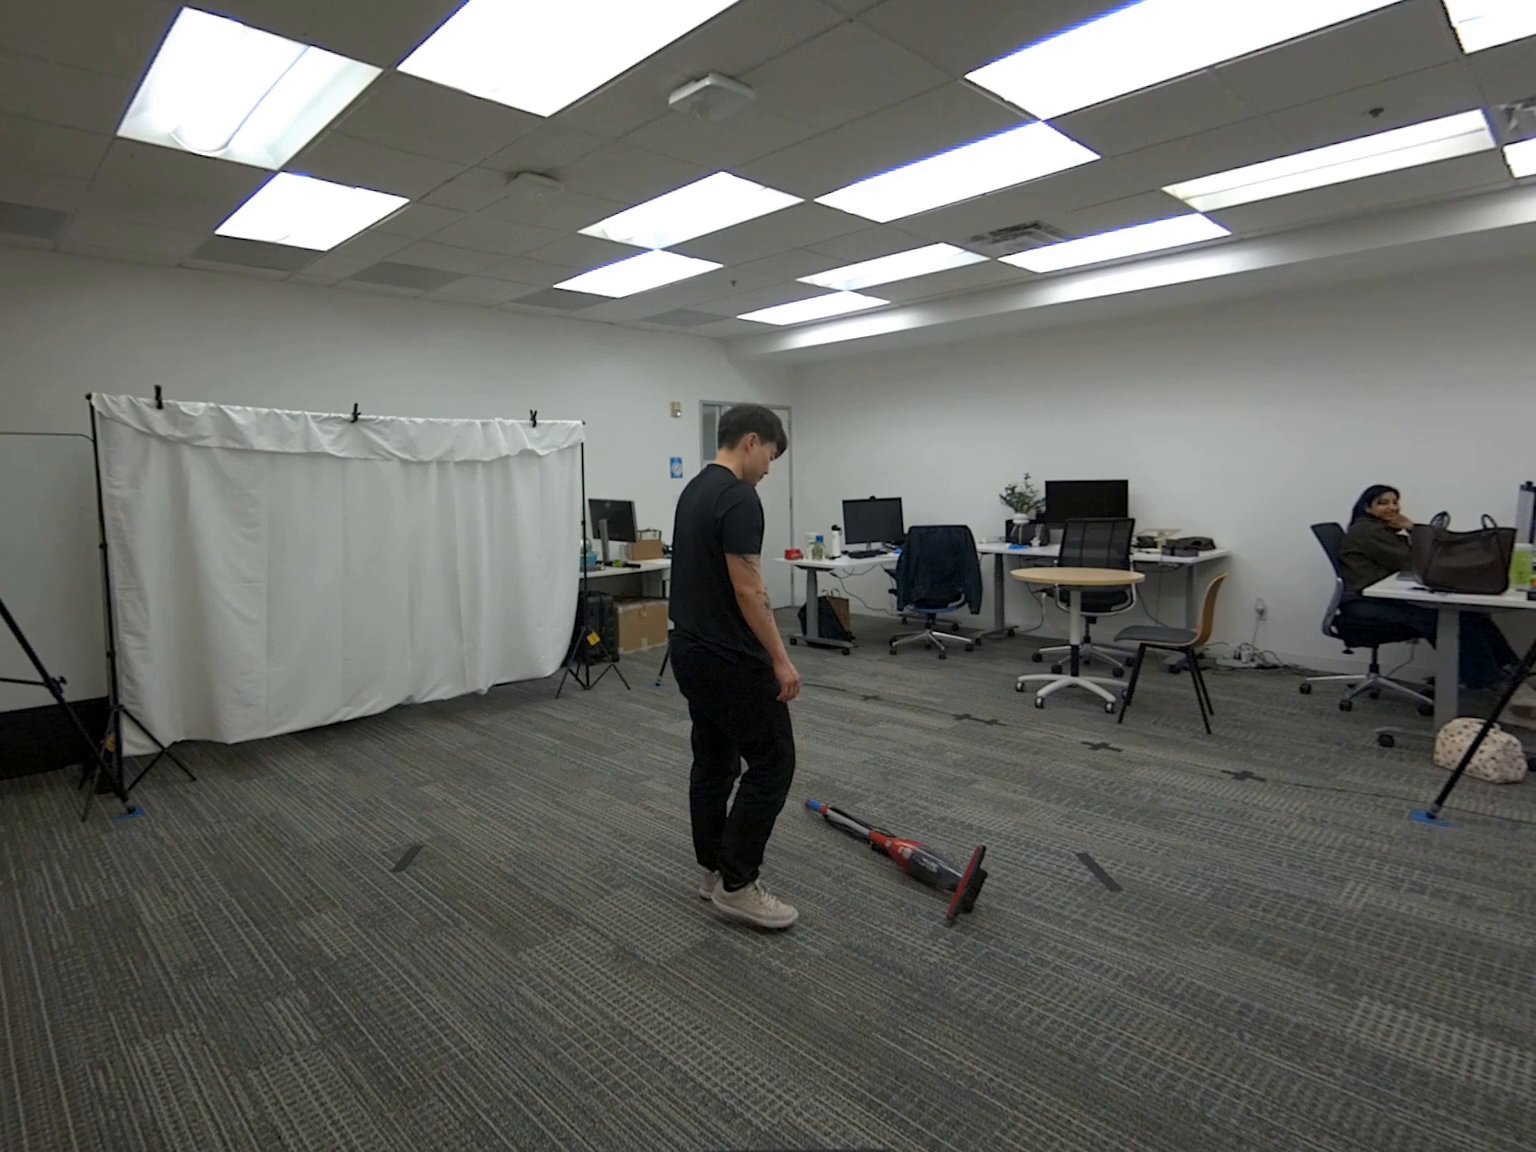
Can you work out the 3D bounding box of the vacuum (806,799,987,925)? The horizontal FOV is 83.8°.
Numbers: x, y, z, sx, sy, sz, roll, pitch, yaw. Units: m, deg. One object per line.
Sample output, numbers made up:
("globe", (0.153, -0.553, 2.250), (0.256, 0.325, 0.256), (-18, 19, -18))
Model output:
("vacuum", (0.409, 0.978, 3.194), (0.140, 0.253, 1.071), (35, -14, -22))
